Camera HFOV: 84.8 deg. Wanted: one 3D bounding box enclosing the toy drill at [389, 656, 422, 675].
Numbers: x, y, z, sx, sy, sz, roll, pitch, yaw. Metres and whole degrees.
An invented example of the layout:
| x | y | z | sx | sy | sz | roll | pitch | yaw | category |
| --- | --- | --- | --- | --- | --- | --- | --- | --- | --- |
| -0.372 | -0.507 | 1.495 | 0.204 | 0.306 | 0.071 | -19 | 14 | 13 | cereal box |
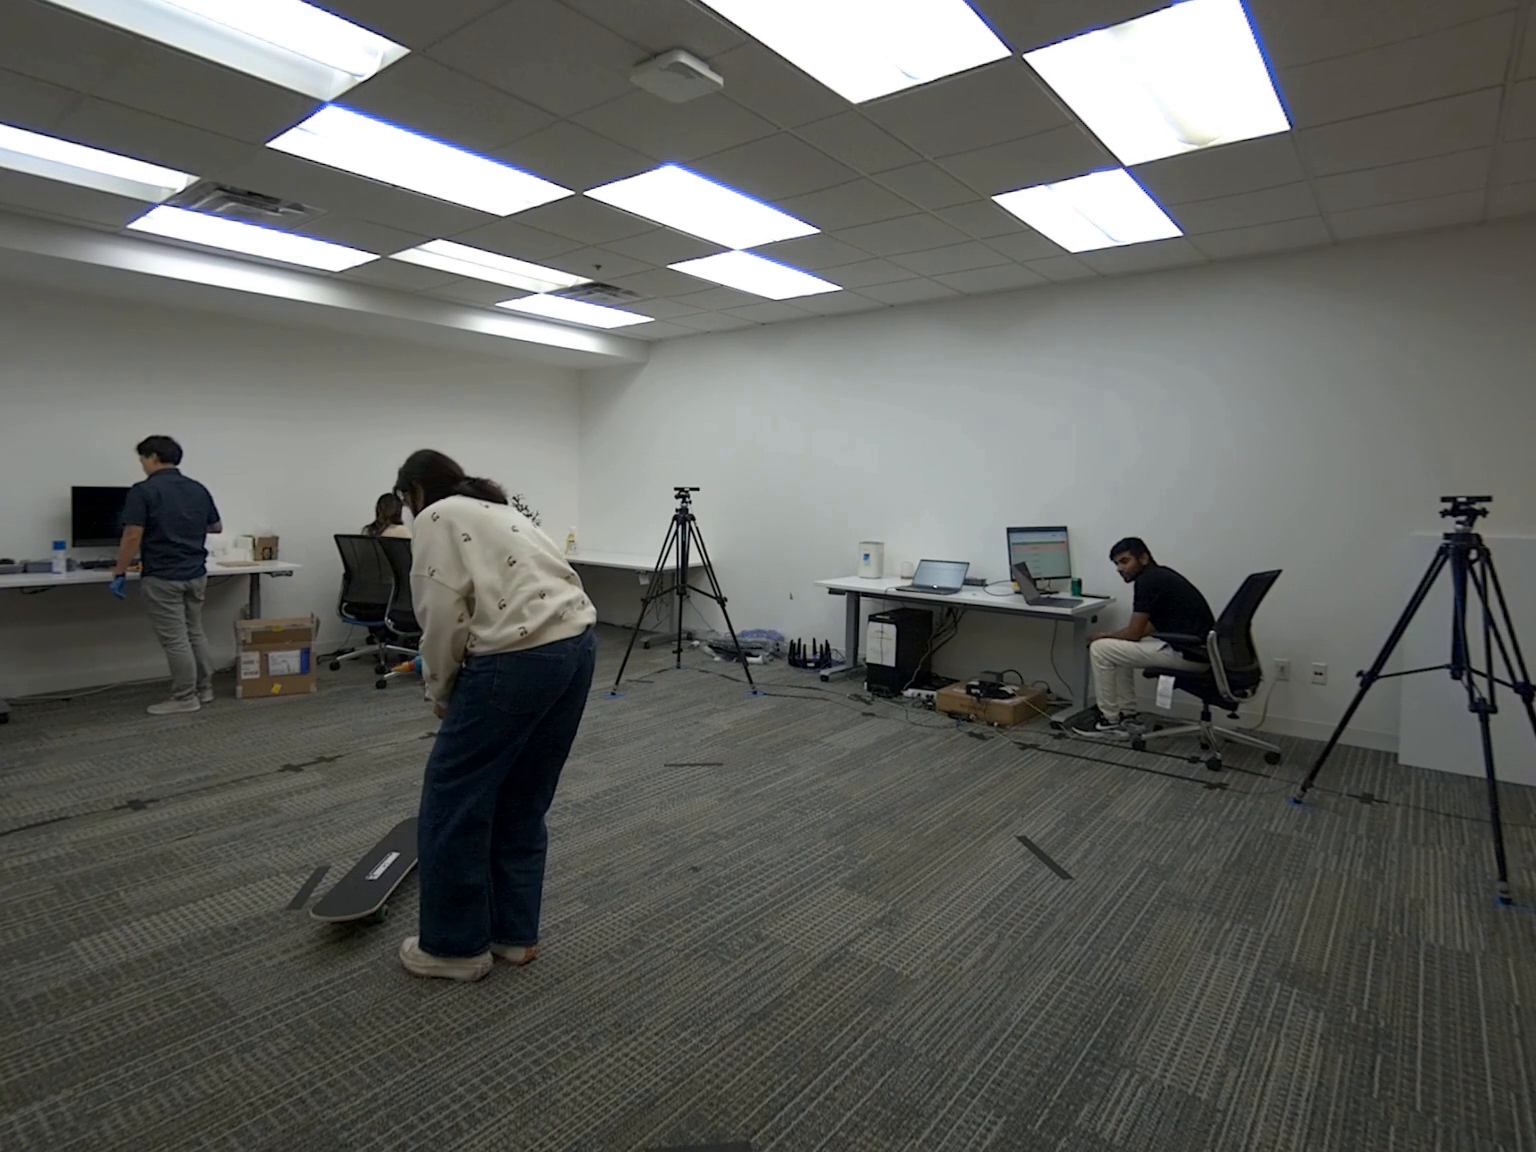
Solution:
| x | y | z | sx | sy | sz | roll | pitch | yaw | category |
| --- | --- | --- | --- | --- | --- | --- | --- | --- | --- |
| -1.078 | 0.317 | 2.615 | 0.168 | 0.149 | 0.061 | -9 | -17 | -14 | toy drill |
